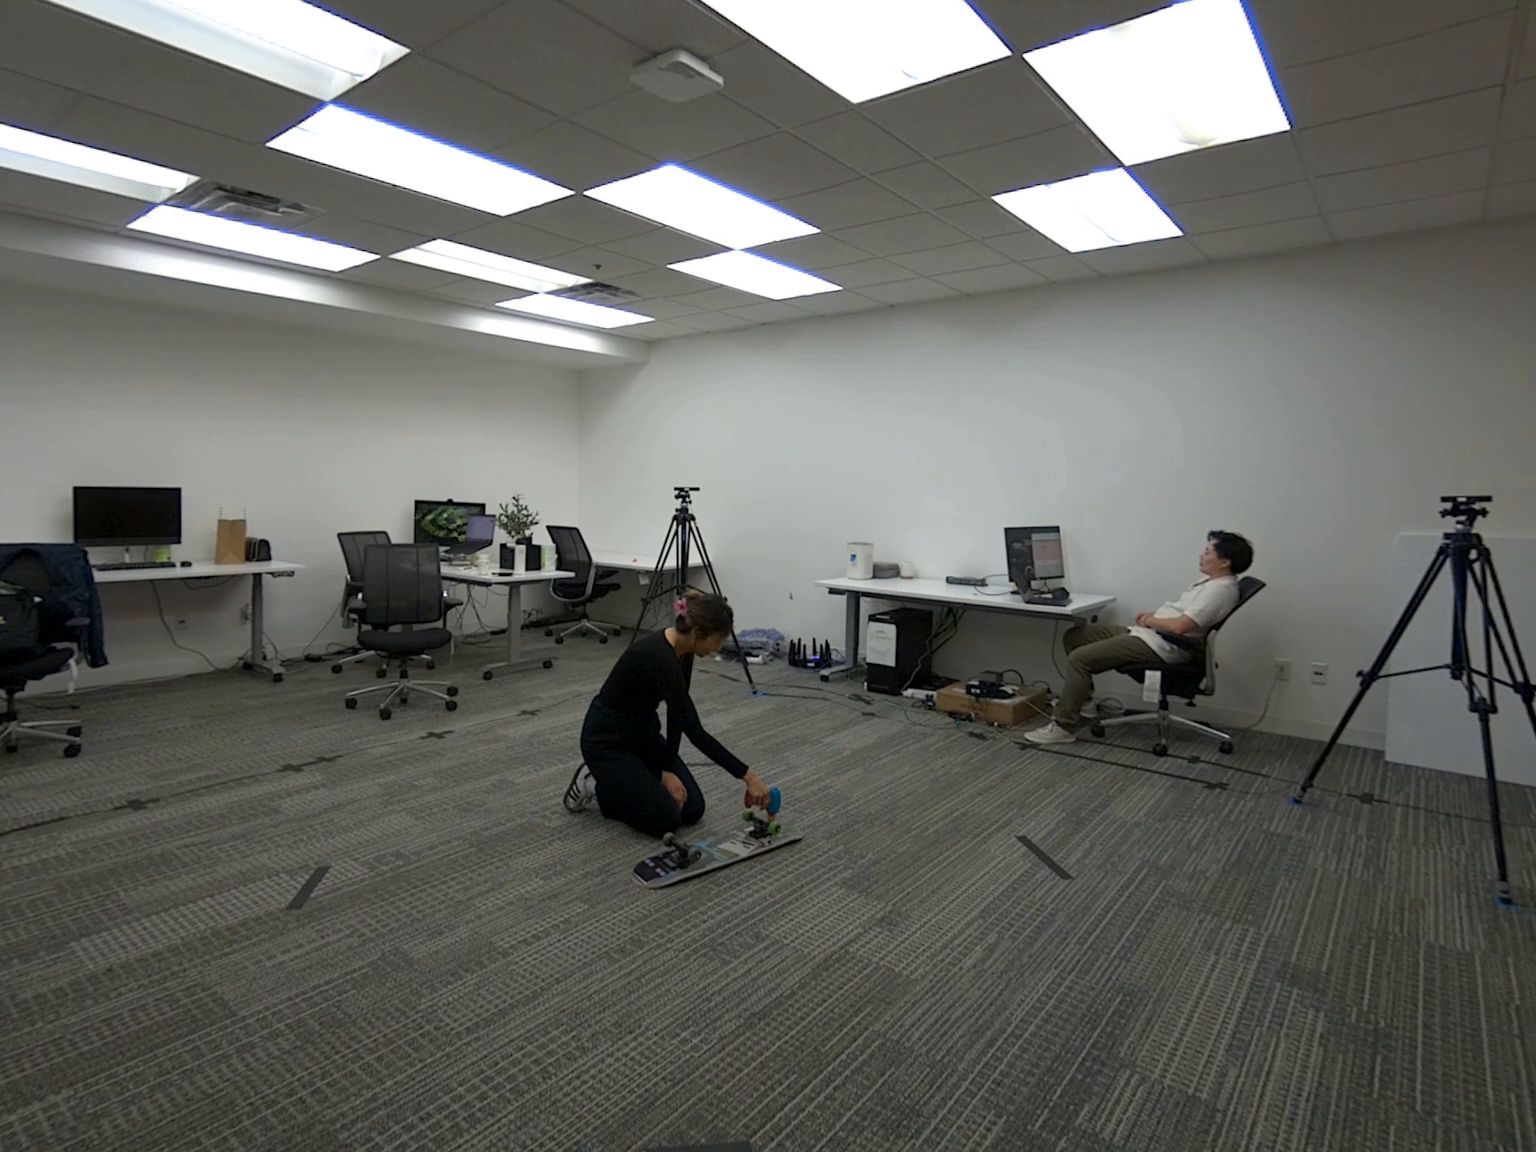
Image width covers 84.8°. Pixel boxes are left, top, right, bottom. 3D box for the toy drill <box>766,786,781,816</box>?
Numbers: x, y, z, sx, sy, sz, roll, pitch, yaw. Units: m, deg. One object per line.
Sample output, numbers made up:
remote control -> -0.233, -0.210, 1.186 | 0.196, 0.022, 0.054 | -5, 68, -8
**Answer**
toy drill -> -0.029, 0.909, 3.325 | 0.144, 0.168, 0.062 | 0, 8, -10
